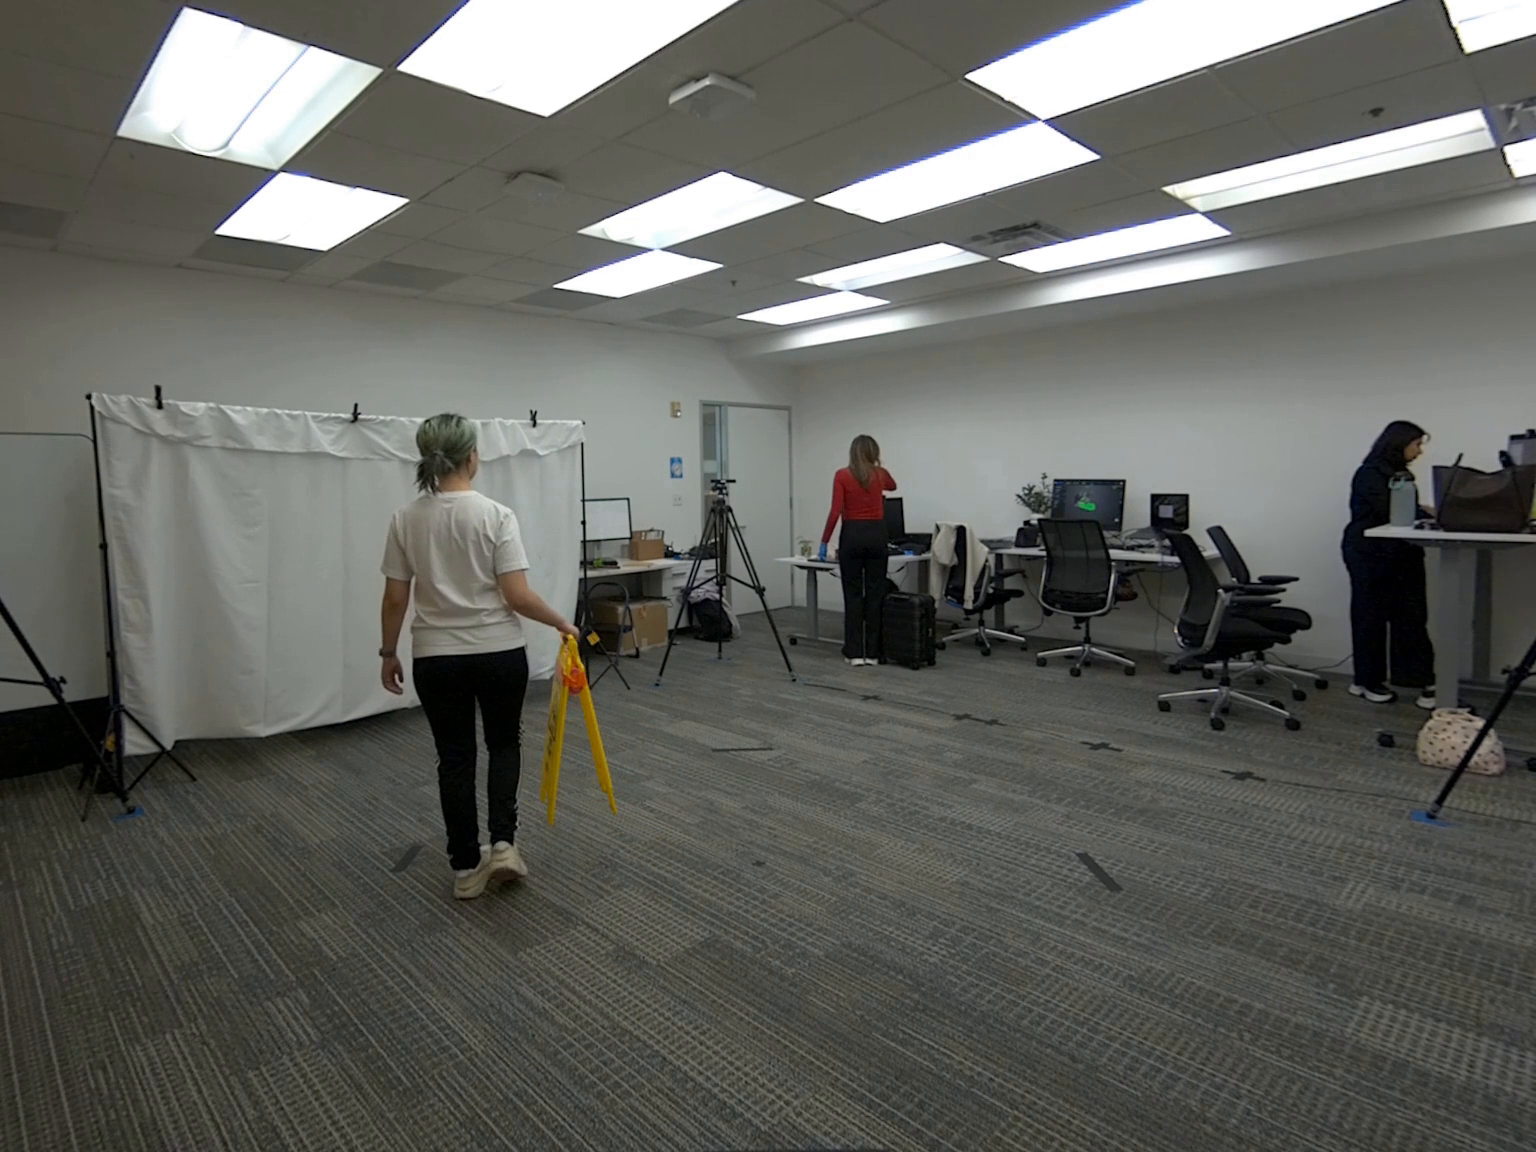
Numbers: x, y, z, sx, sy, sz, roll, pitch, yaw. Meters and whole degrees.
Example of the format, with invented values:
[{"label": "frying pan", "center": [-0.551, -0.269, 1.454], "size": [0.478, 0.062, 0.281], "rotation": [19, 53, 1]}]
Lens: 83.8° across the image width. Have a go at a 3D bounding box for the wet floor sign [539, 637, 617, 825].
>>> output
[{"label": "wet floor sign", "center": [-0.705, 0.522, 3.092], "size": [0.285, 0.642, 0.289], "rotation": [-3, 8, -19]}]
